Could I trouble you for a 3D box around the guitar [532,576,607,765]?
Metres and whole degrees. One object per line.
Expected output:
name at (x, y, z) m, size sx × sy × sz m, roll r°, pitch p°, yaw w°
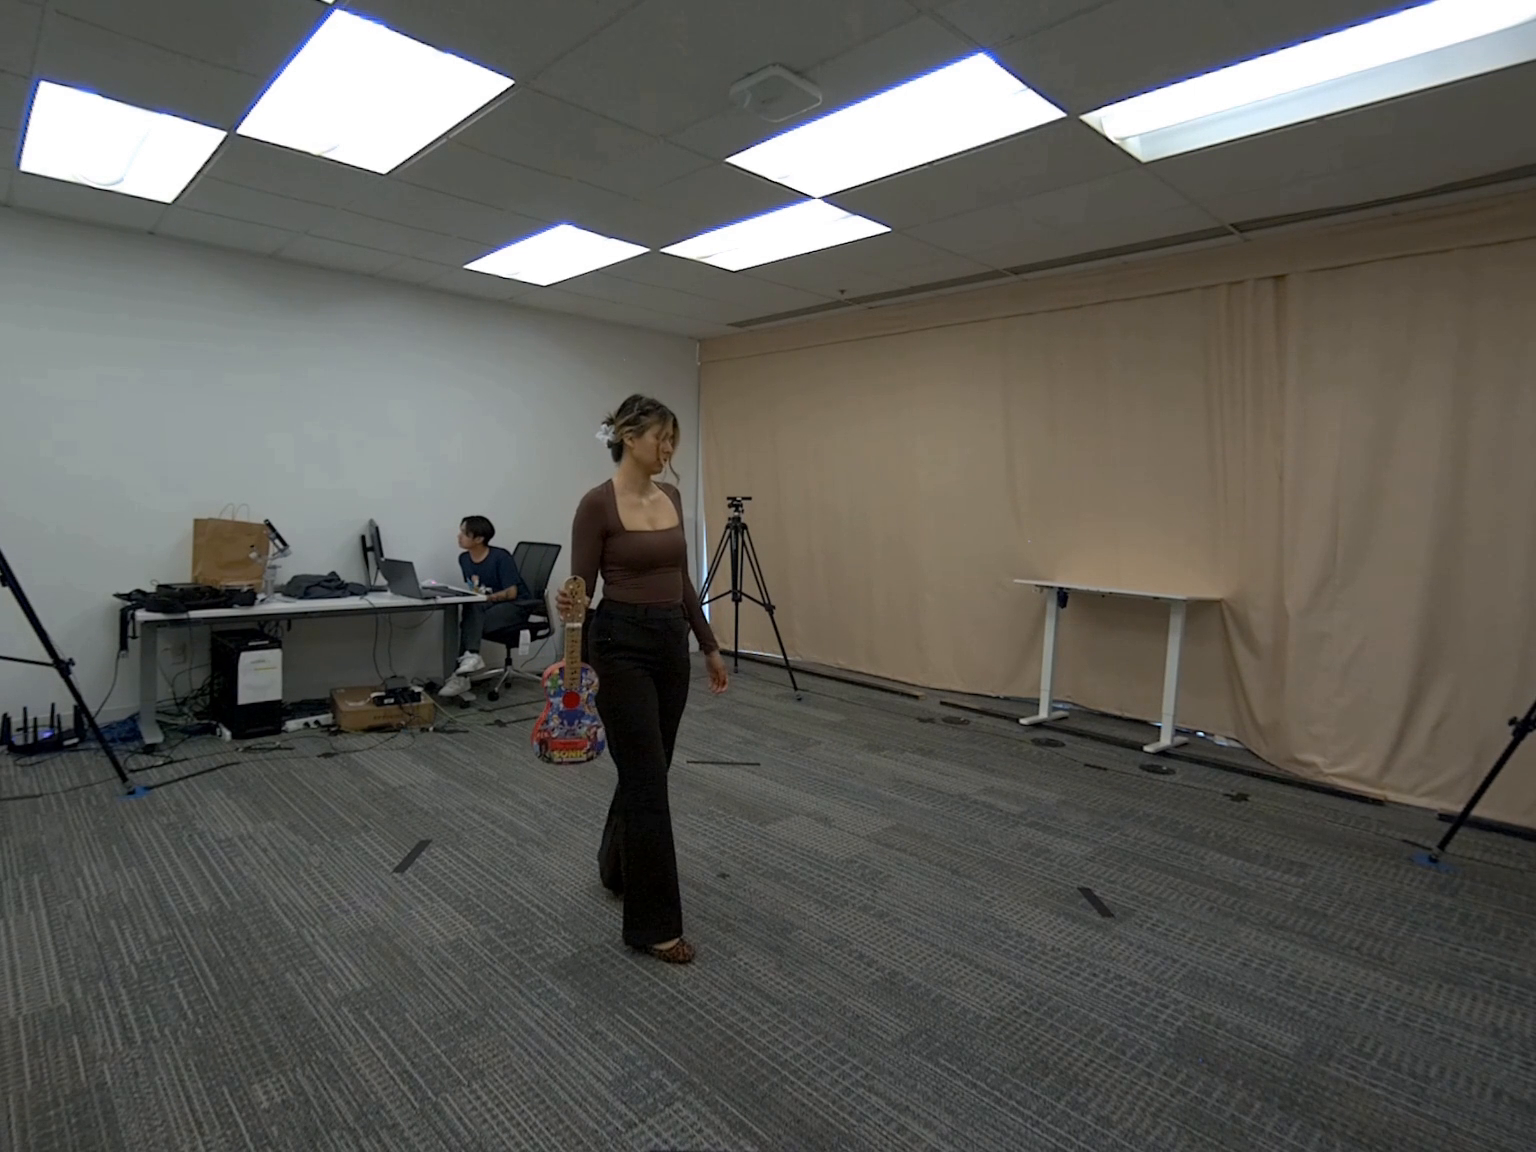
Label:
guitar at (-0.500, 0.258, 2.255) m, size 0.190 × 0.498 × 0.072 m, roll 12°, pitch -1°, yaw -17°
